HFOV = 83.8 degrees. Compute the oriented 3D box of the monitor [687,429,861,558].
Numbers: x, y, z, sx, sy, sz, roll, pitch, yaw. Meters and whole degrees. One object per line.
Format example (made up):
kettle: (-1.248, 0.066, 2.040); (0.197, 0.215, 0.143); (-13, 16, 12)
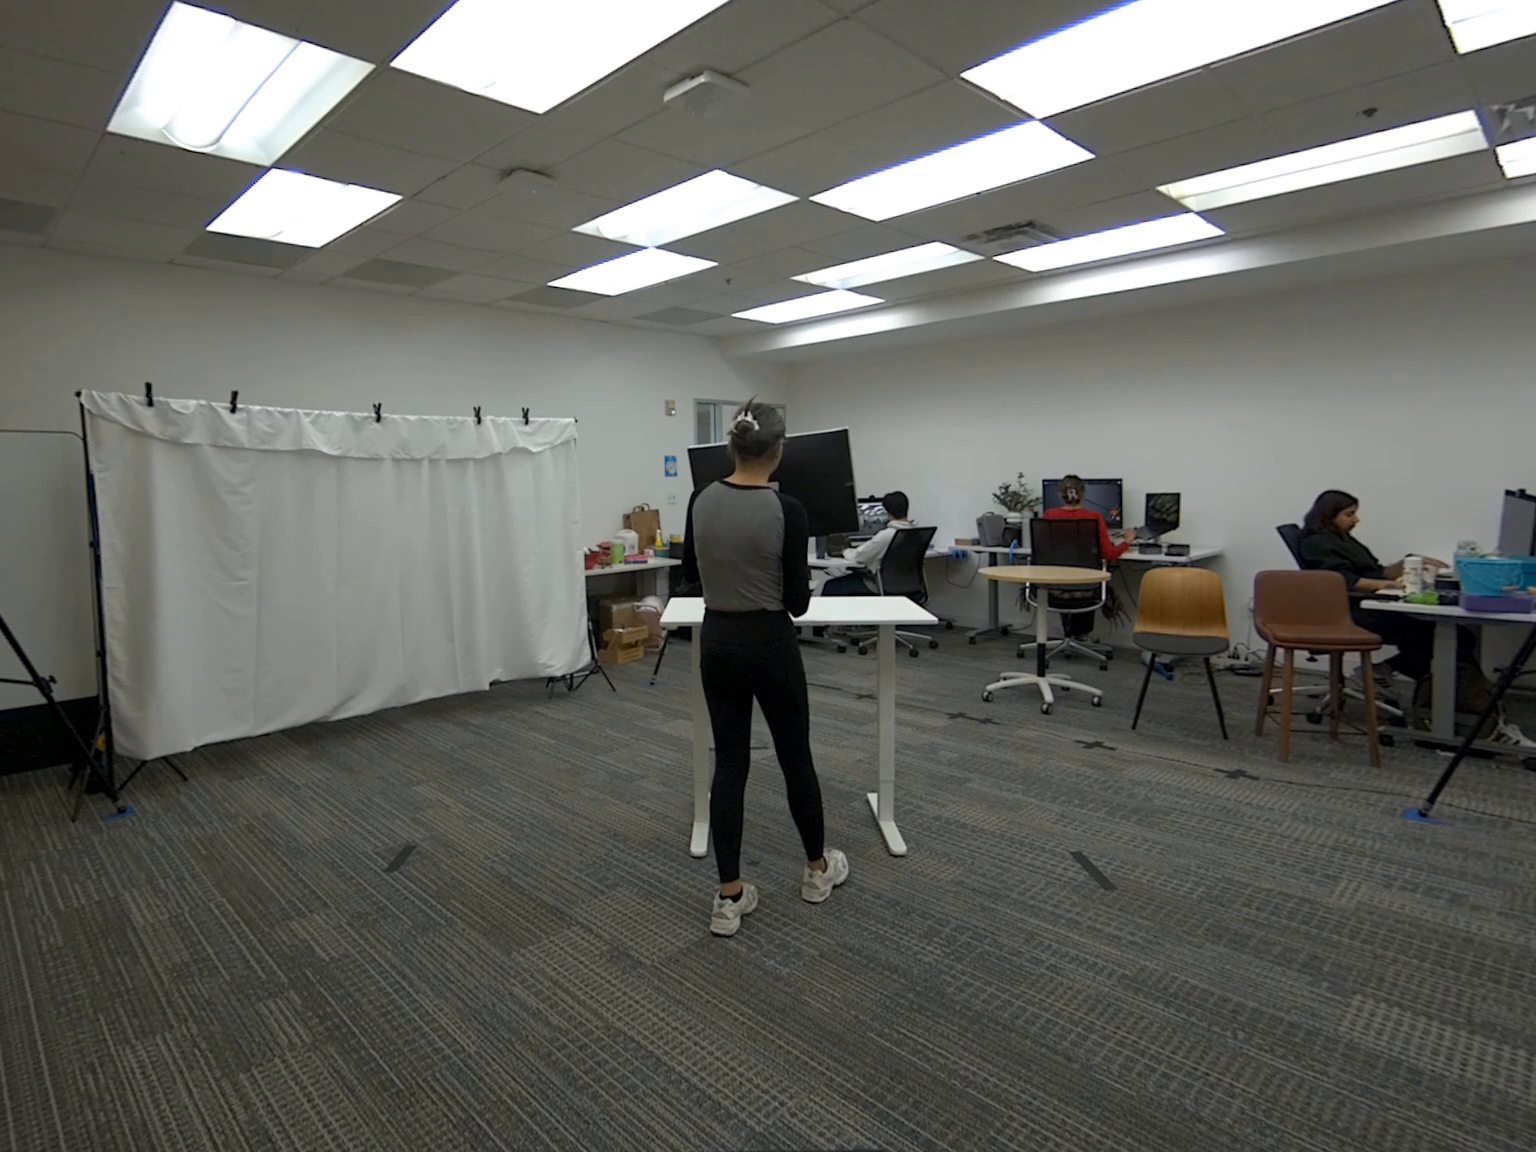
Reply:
monitor: (0.028, -0.211, 2.911); (0.545, 0.520, 0.186); (-4, 5, 13)
